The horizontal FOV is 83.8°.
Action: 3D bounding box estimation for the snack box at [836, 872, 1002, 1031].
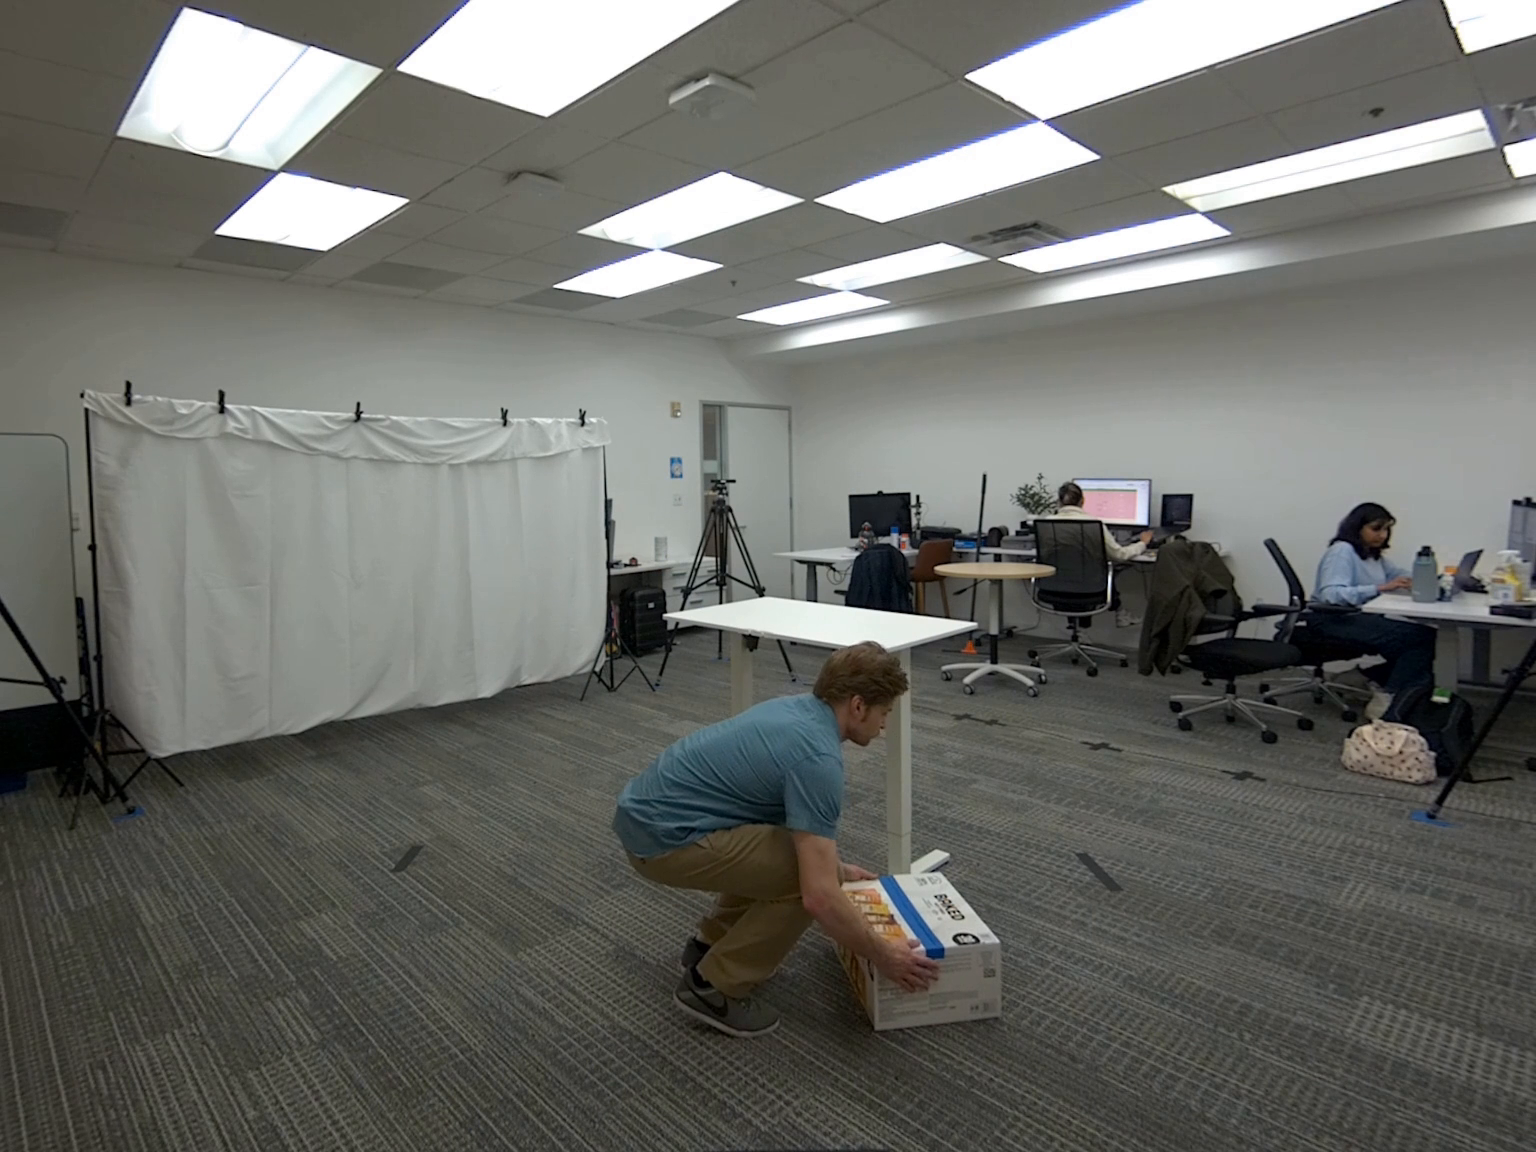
[{"bbox_3d":[0.396,1.031,2.367,0.337,0.204,0.411,-2,7,-10],"label":"snack box"}]
